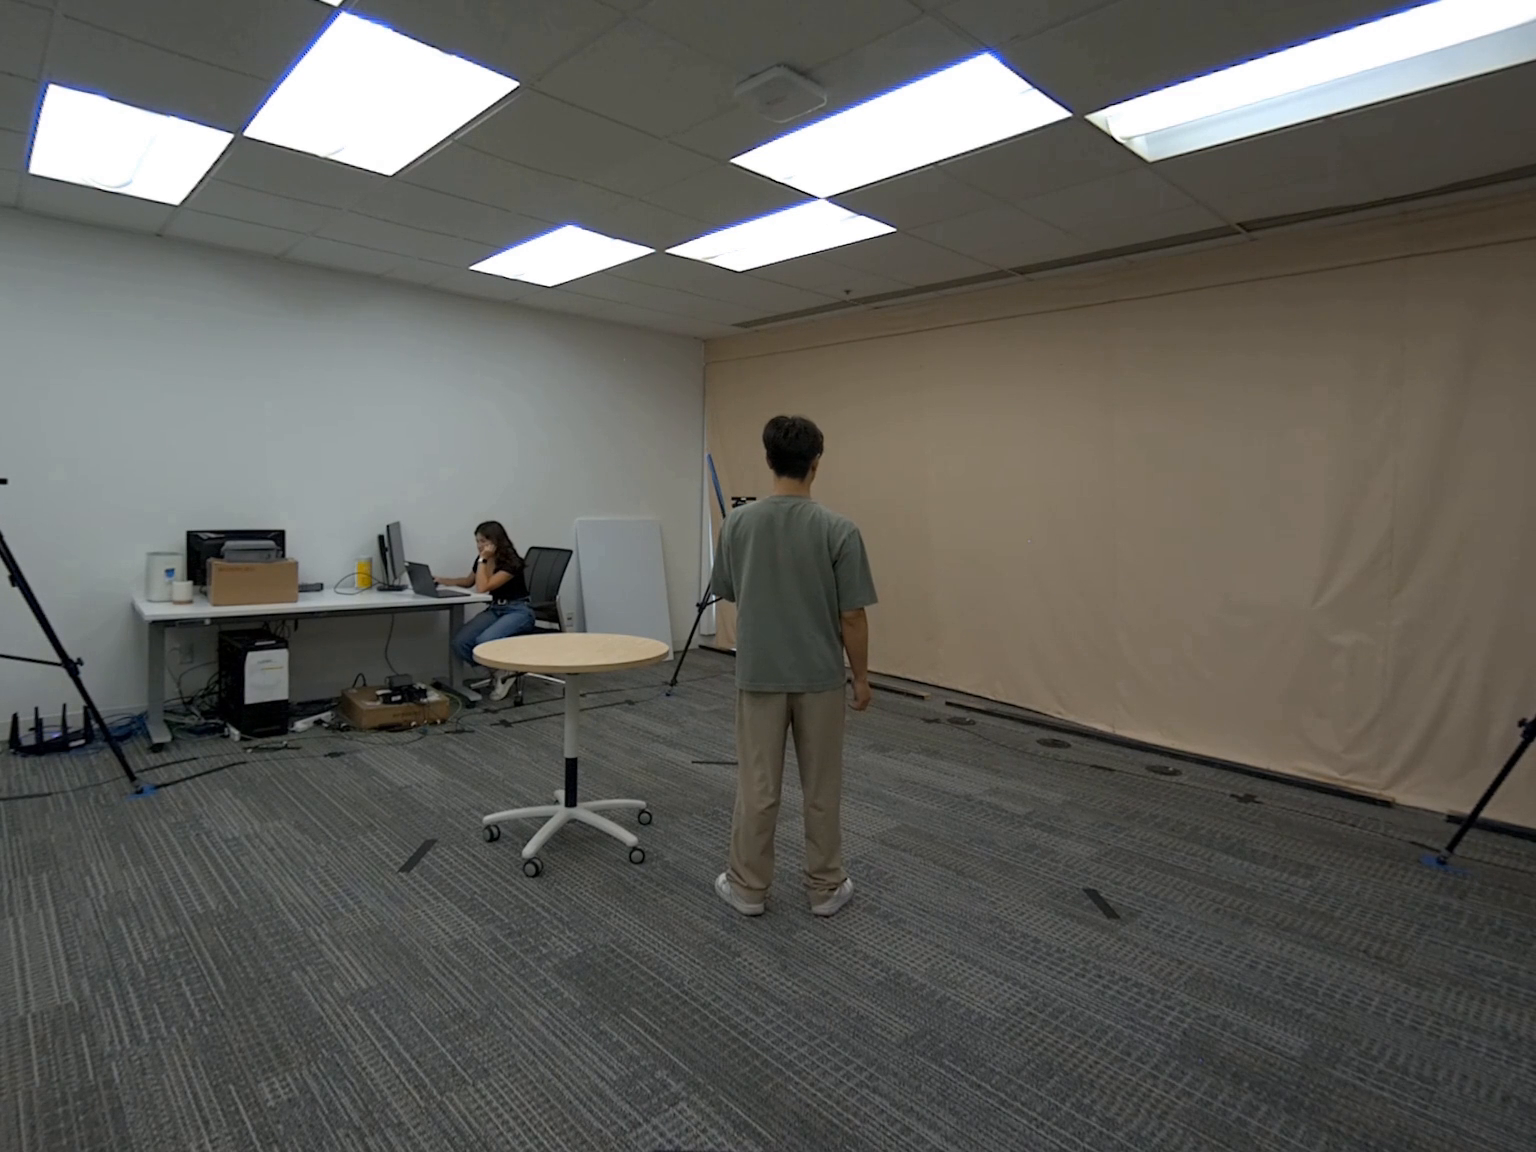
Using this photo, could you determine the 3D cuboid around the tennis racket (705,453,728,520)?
[{"bbox_3d":[-0.186,-0.281,3.254,0.032,0.438,0.211,-14,-13,2],"label":"tennis racket"}]
